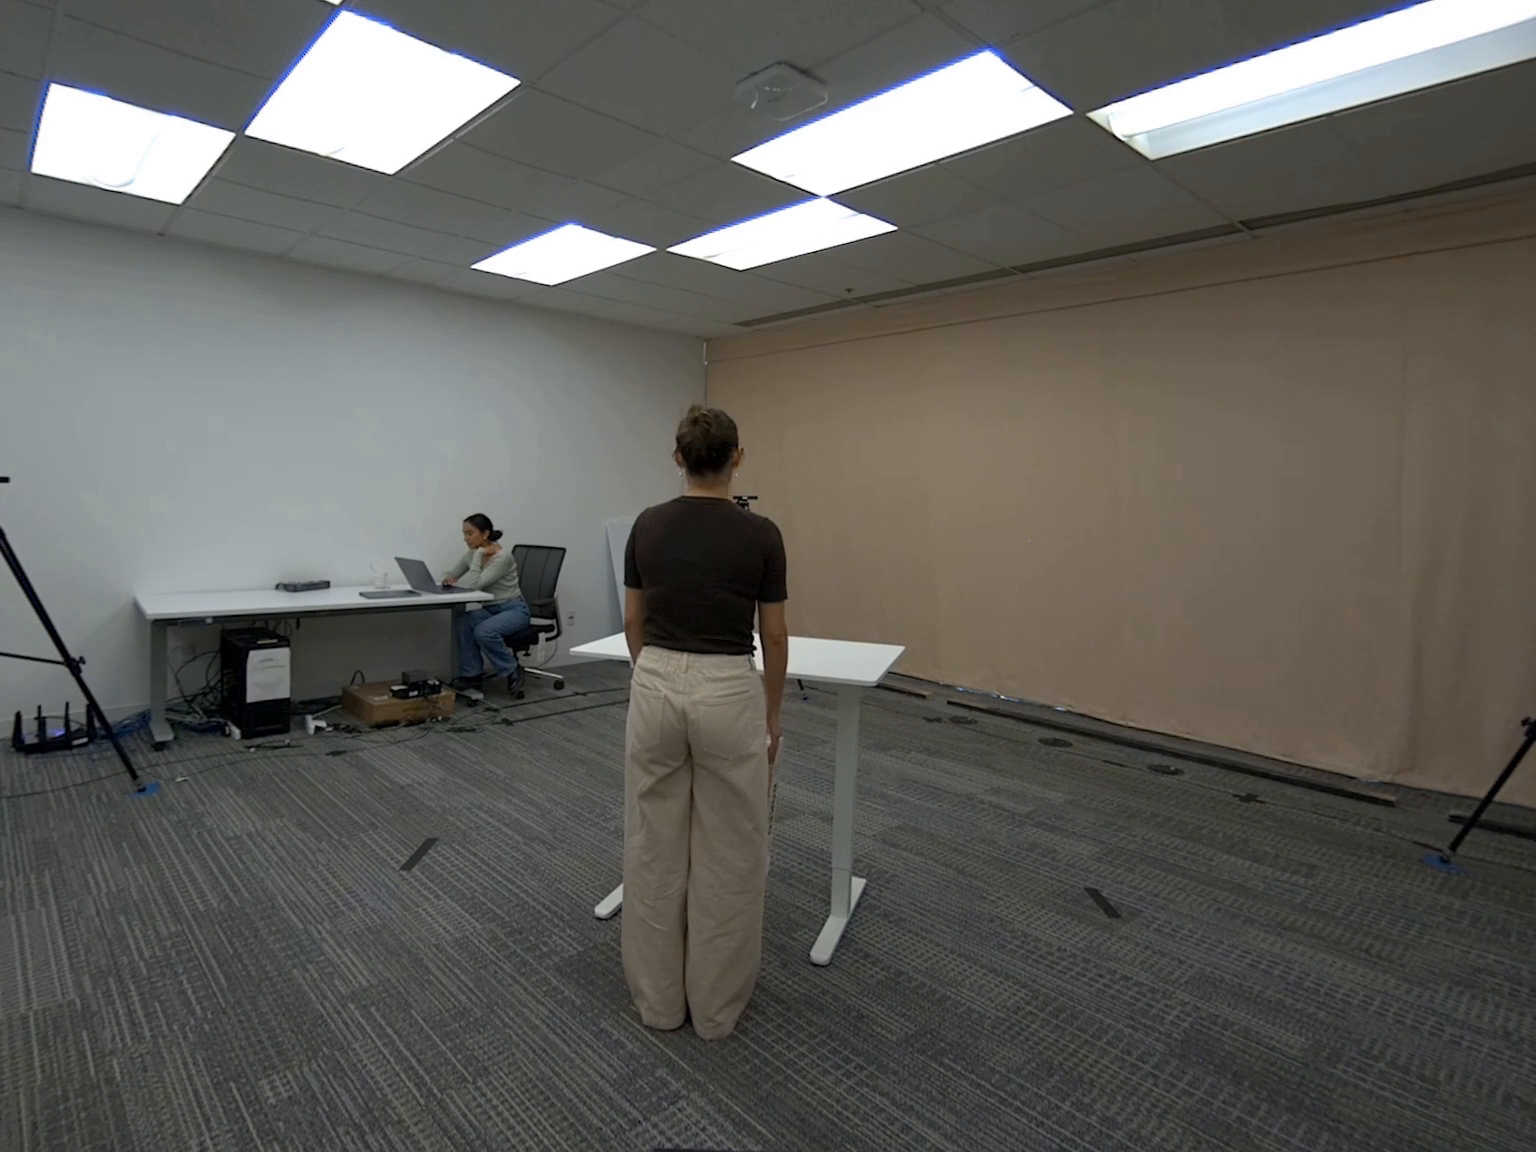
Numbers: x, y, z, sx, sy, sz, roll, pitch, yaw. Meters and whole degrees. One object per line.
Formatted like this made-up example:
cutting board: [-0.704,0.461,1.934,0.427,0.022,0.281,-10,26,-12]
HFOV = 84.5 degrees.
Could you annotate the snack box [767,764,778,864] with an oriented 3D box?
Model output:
snack box: [-0.163,0.659,2.414,0.345,0.406,0.202,6,-2,16]
